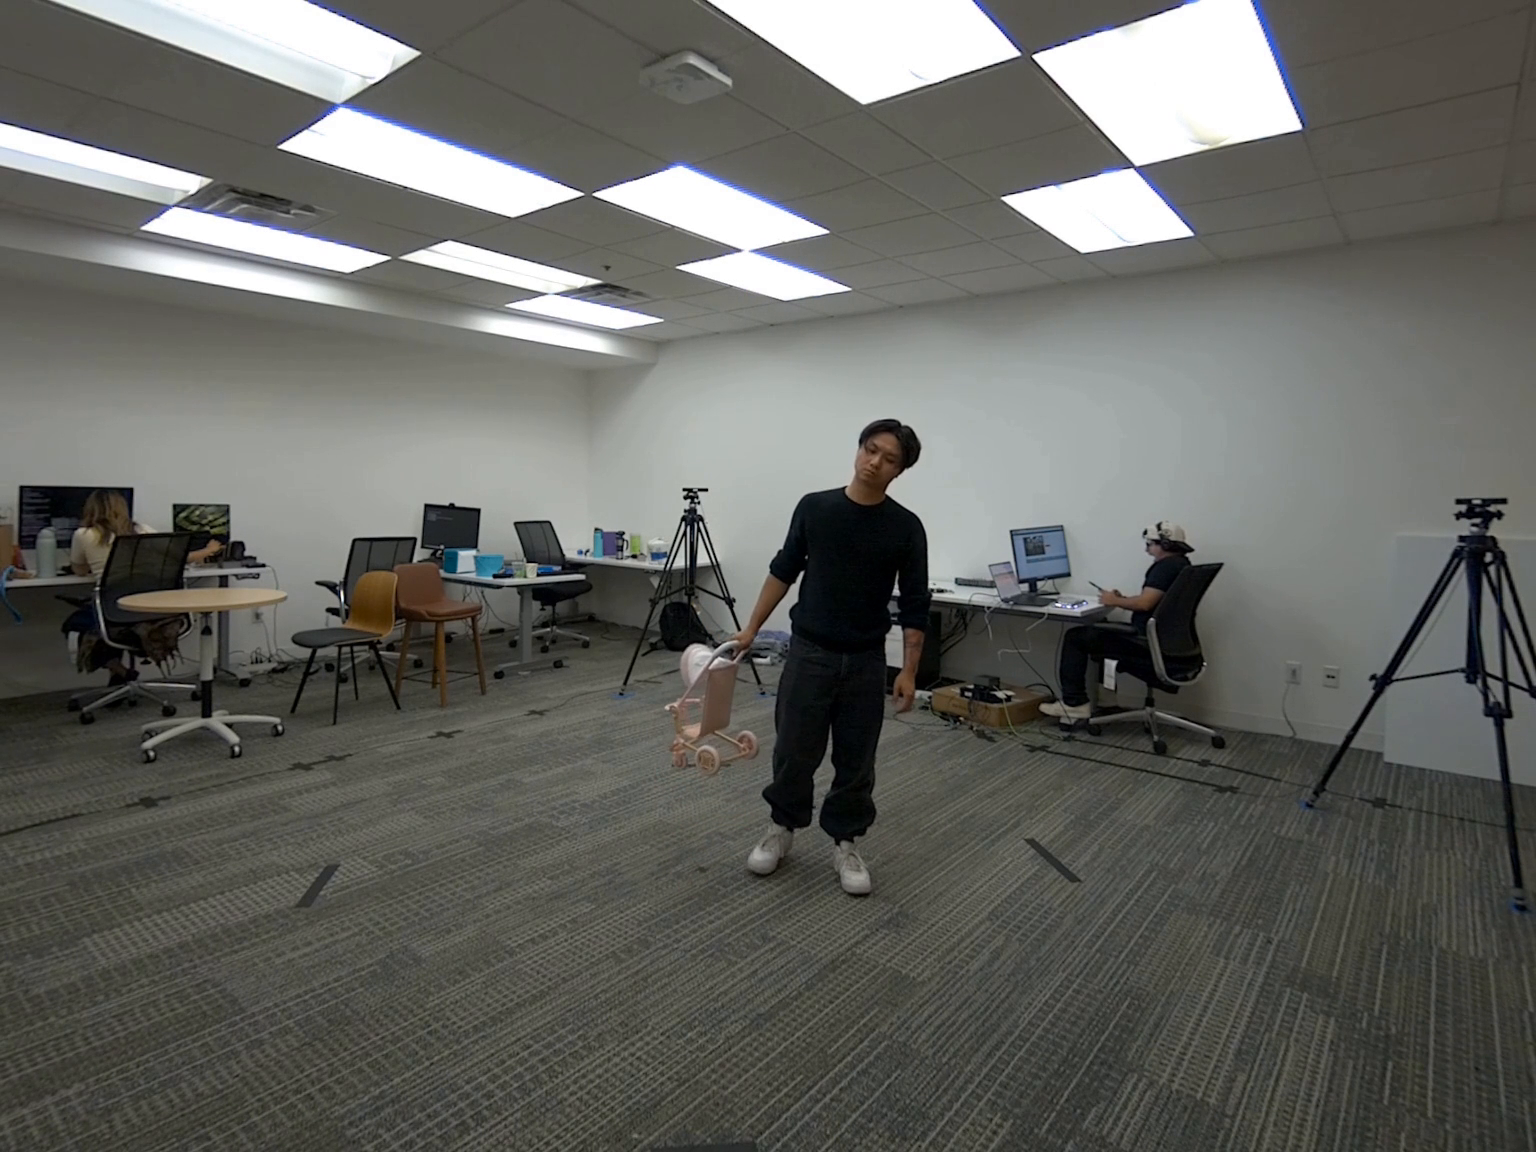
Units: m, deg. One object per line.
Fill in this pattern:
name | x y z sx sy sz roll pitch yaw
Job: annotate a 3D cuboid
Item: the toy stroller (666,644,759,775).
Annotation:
toy stroller | -0.242 0.504 3.262 0.352 0.534 0.273 2 4 40
